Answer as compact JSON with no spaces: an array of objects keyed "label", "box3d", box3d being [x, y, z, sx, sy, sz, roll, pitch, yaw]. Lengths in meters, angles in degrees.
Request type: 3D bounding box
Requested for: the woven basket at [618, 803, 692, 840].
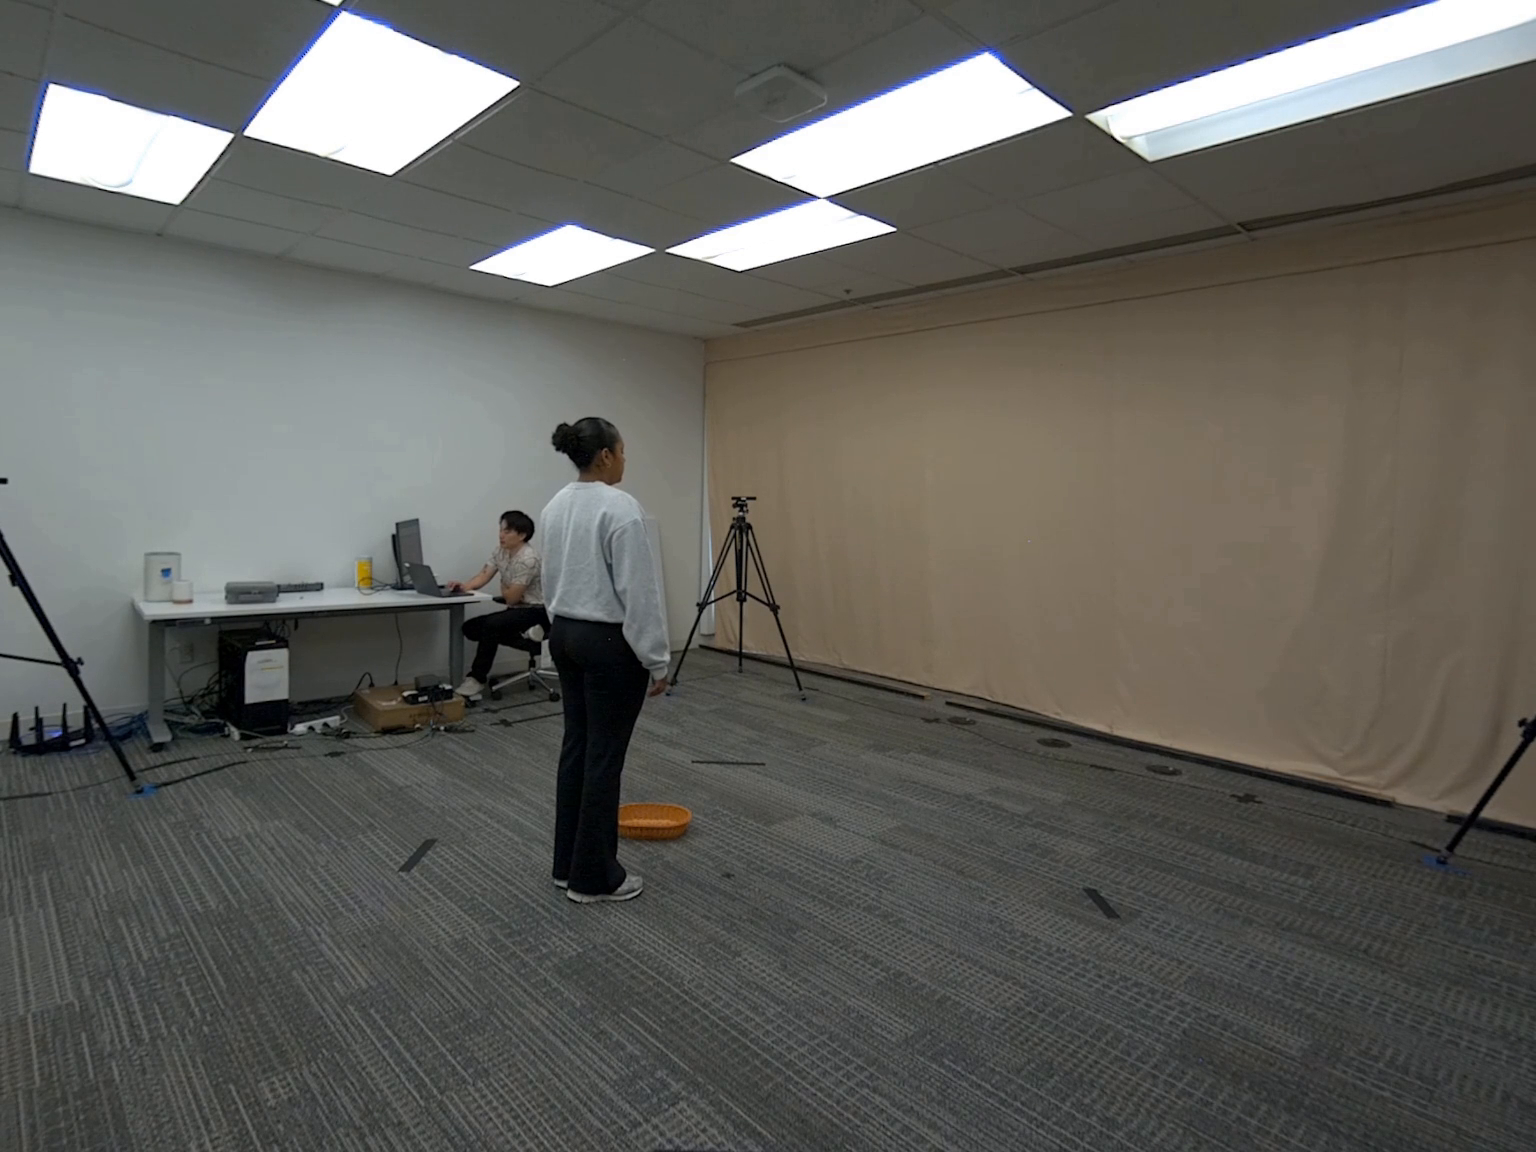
[{"label":"woven basket","box3d":[-0.492,1.022,3.504,0.351,0.073,0.252,2,6,3]}]
